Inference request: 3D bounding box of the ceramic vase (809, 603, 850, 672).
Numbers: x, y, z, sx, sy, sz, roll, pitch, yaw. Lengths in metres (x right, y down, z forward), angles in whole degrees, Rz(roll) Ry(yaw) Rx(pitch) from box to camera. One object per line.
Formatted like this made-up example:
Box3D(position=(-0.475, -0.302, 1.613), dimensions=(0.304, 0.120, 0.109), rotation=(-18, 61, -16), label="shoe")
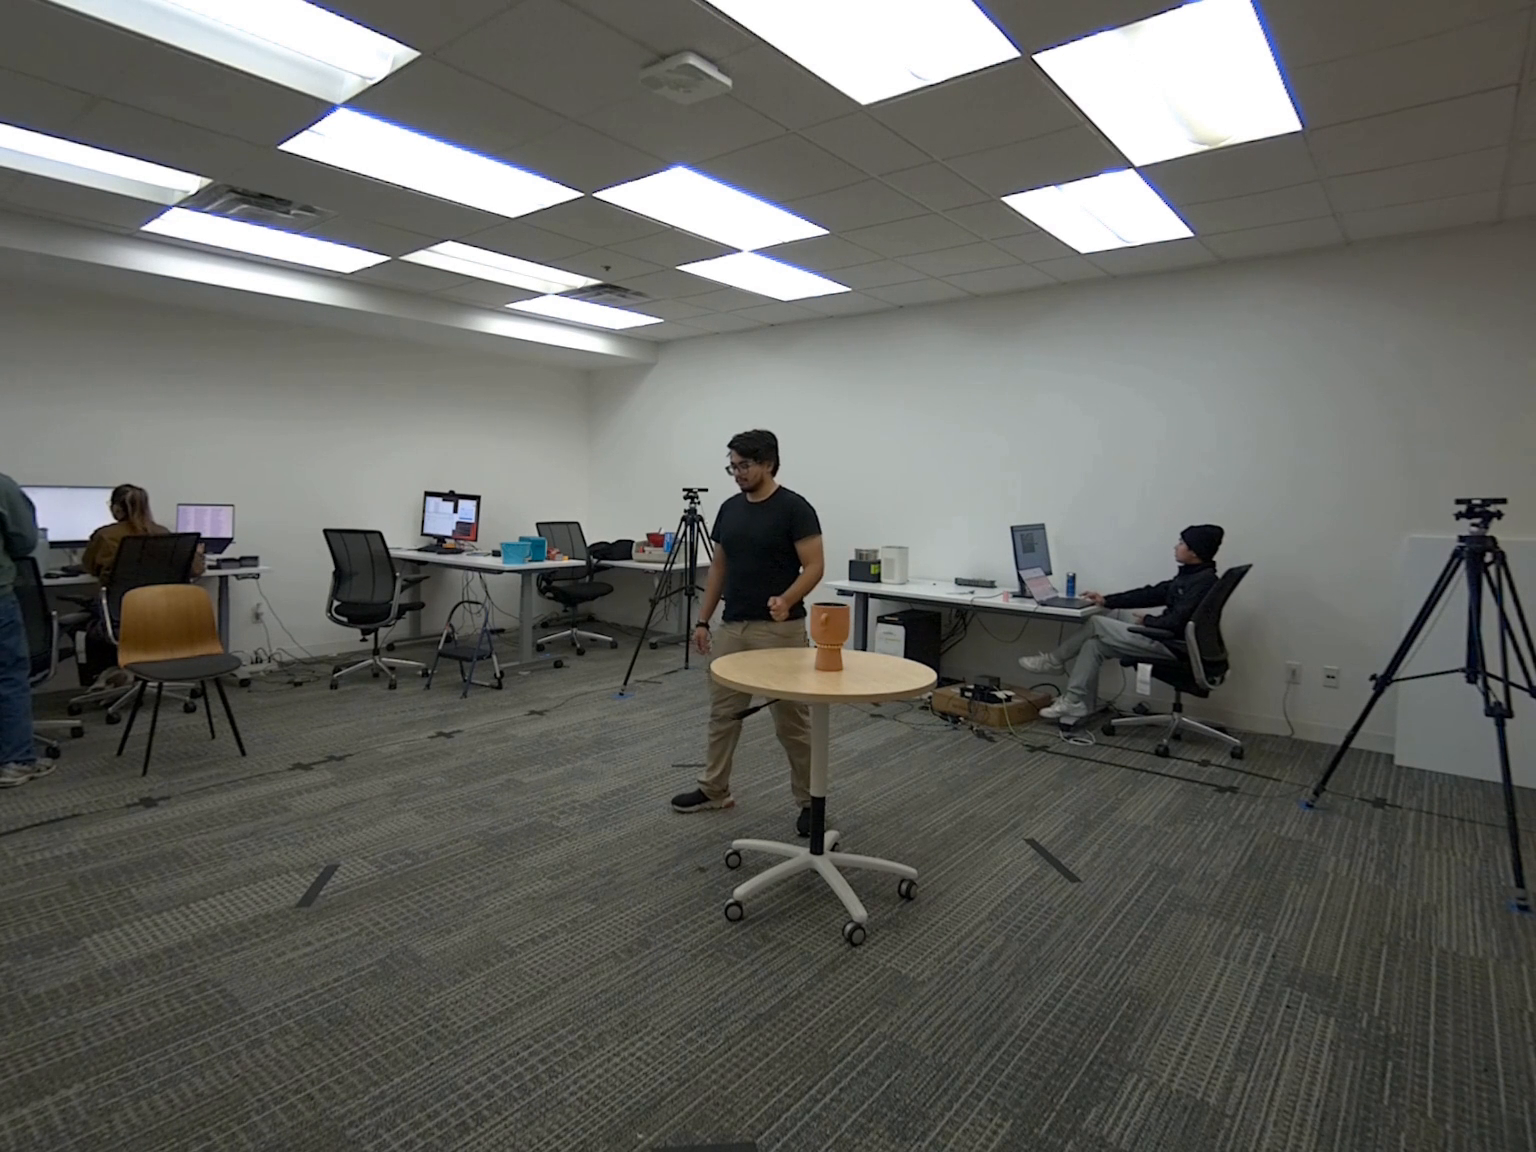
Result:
Box3D(position=(0.203, 0.202, 2.908), dimensions=(0.154, 0.219, 0.139), rotation=(-3, 4, -32), label="ceramic vase")
